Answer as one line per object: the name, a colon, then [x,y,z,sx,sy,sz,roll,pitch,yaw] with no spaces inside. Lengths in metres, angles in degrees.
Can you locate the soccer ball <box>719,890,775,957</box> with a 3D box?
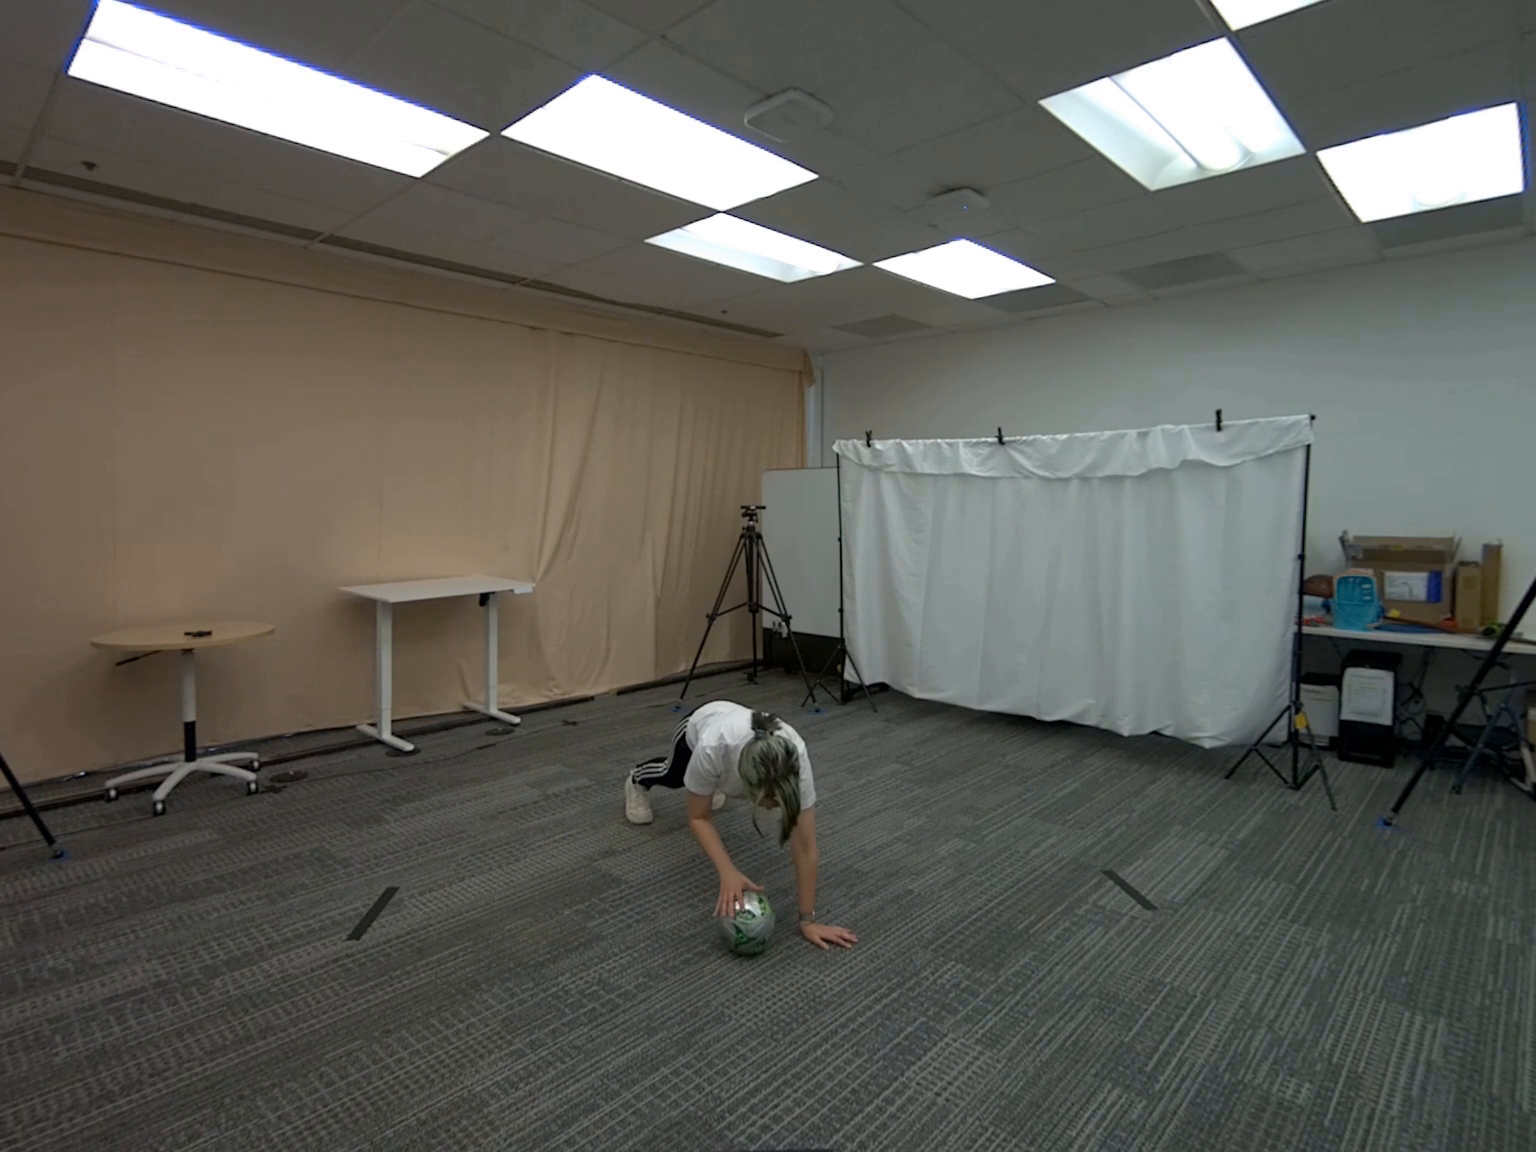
soccer ball: [-0.076,1.076,2.635,0.187,0.187,0.188,0,4,-2]
